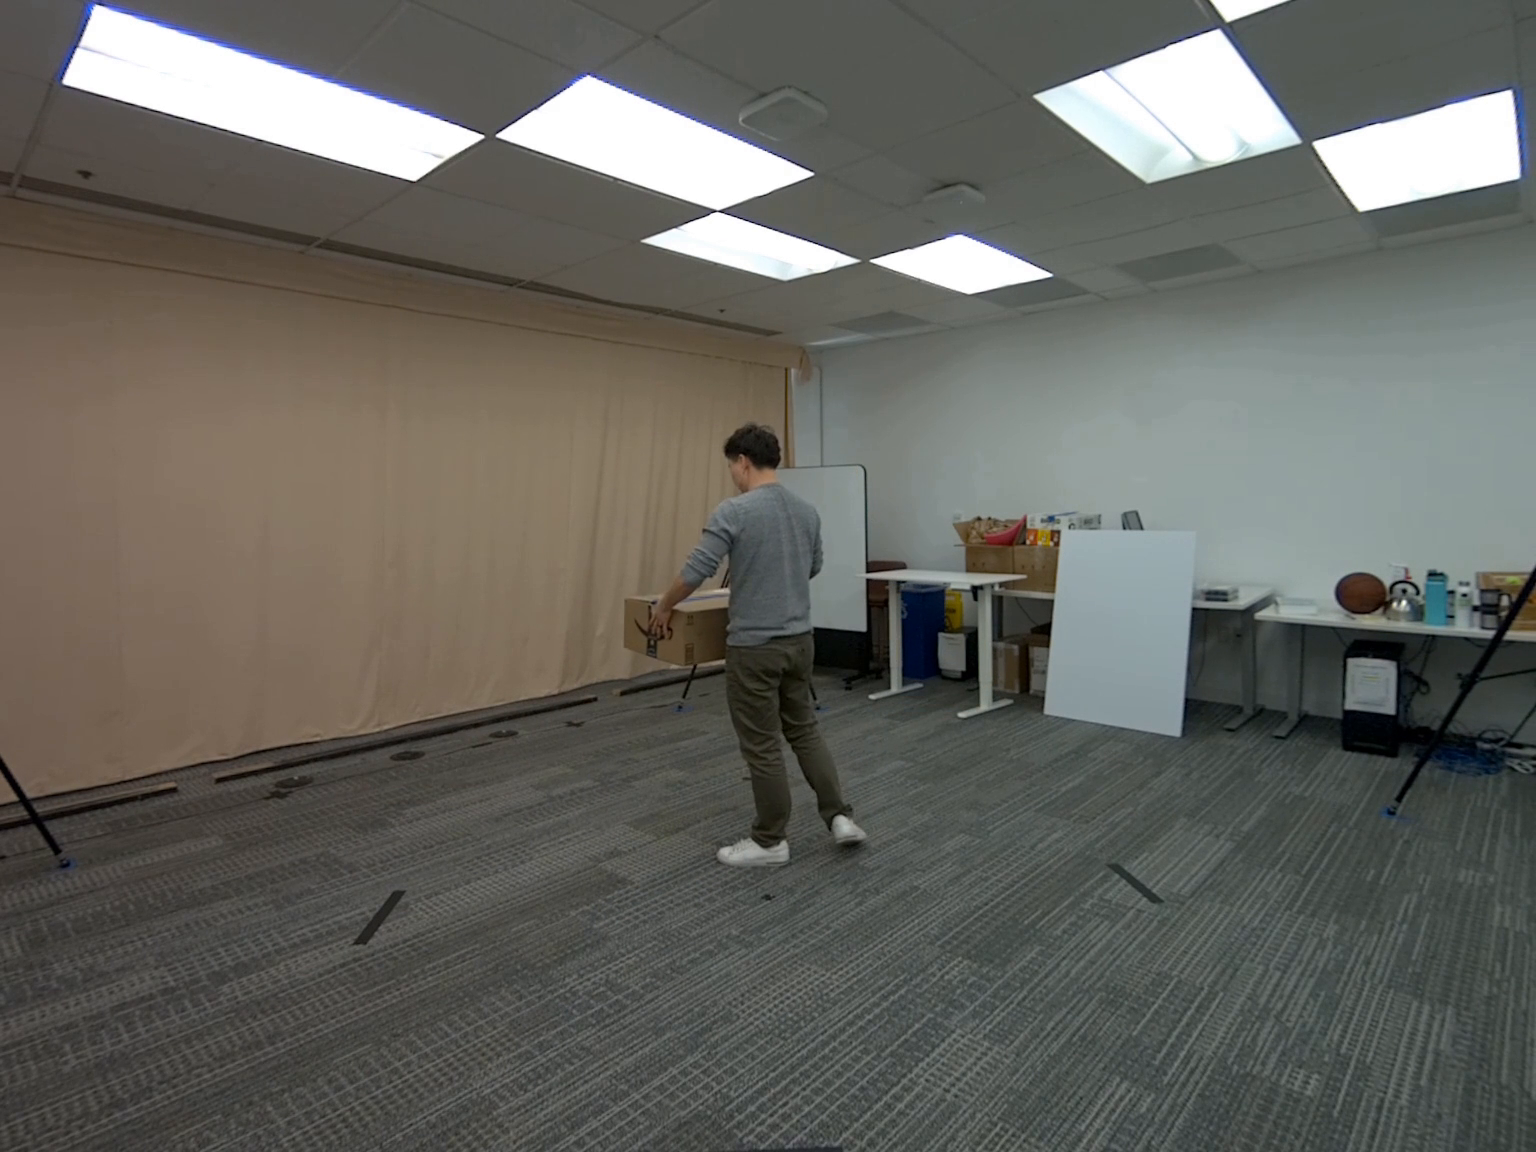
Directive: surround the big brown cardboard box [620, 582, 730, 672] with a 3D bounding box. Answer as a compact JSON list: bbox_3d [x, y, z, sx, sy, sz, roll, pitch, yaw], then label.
[{"bbox_3d":[-0.259,0.195,3.548,0.571,0.232,0.432,-6,11,-41],"label":"big brown cardboard box"}]
